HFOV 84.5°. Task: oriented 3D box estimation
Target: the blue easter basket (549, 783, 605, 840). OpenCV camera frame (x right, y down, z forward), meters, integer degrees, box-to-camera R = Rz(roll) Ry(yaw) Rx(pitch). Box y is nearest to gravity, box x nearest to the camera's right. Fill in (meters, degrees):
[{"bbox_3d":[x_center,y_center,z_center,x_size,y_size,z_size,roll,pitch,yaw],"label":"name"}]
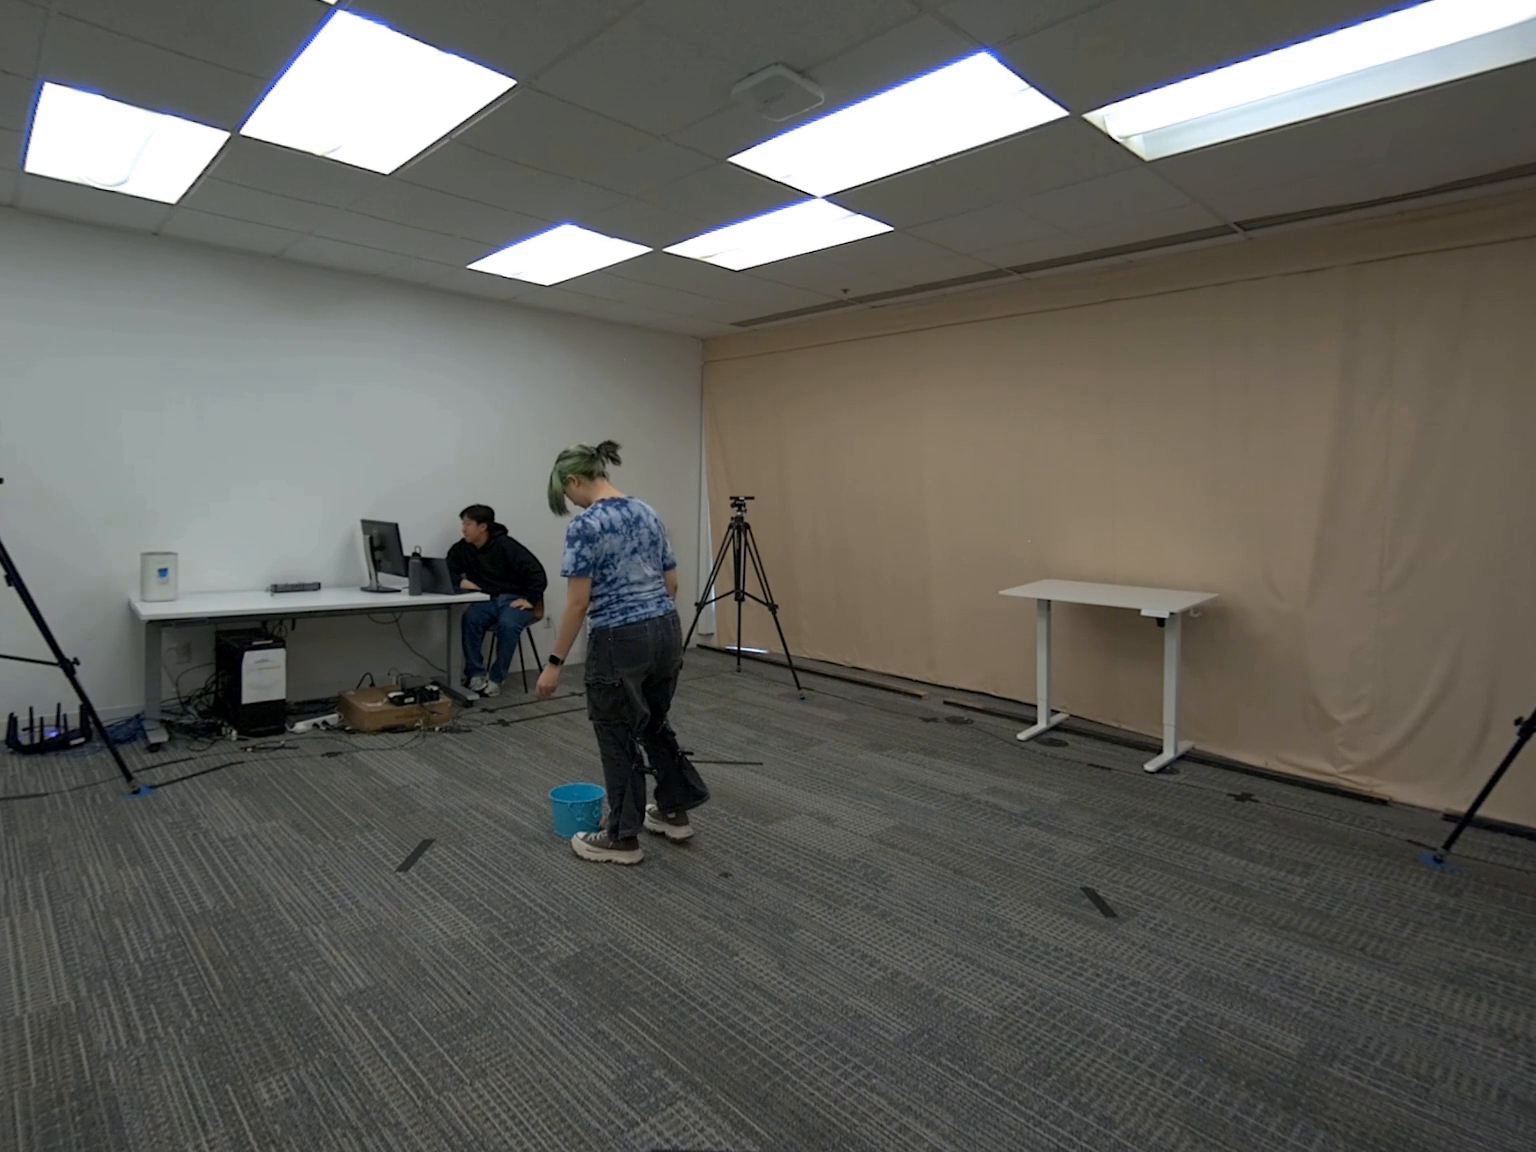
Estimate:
[{"bbox_3d":[-0.798,0.972,3.495,0.243,0.155,0.244,1,4,-1],"label":"blue easter basket"}]
